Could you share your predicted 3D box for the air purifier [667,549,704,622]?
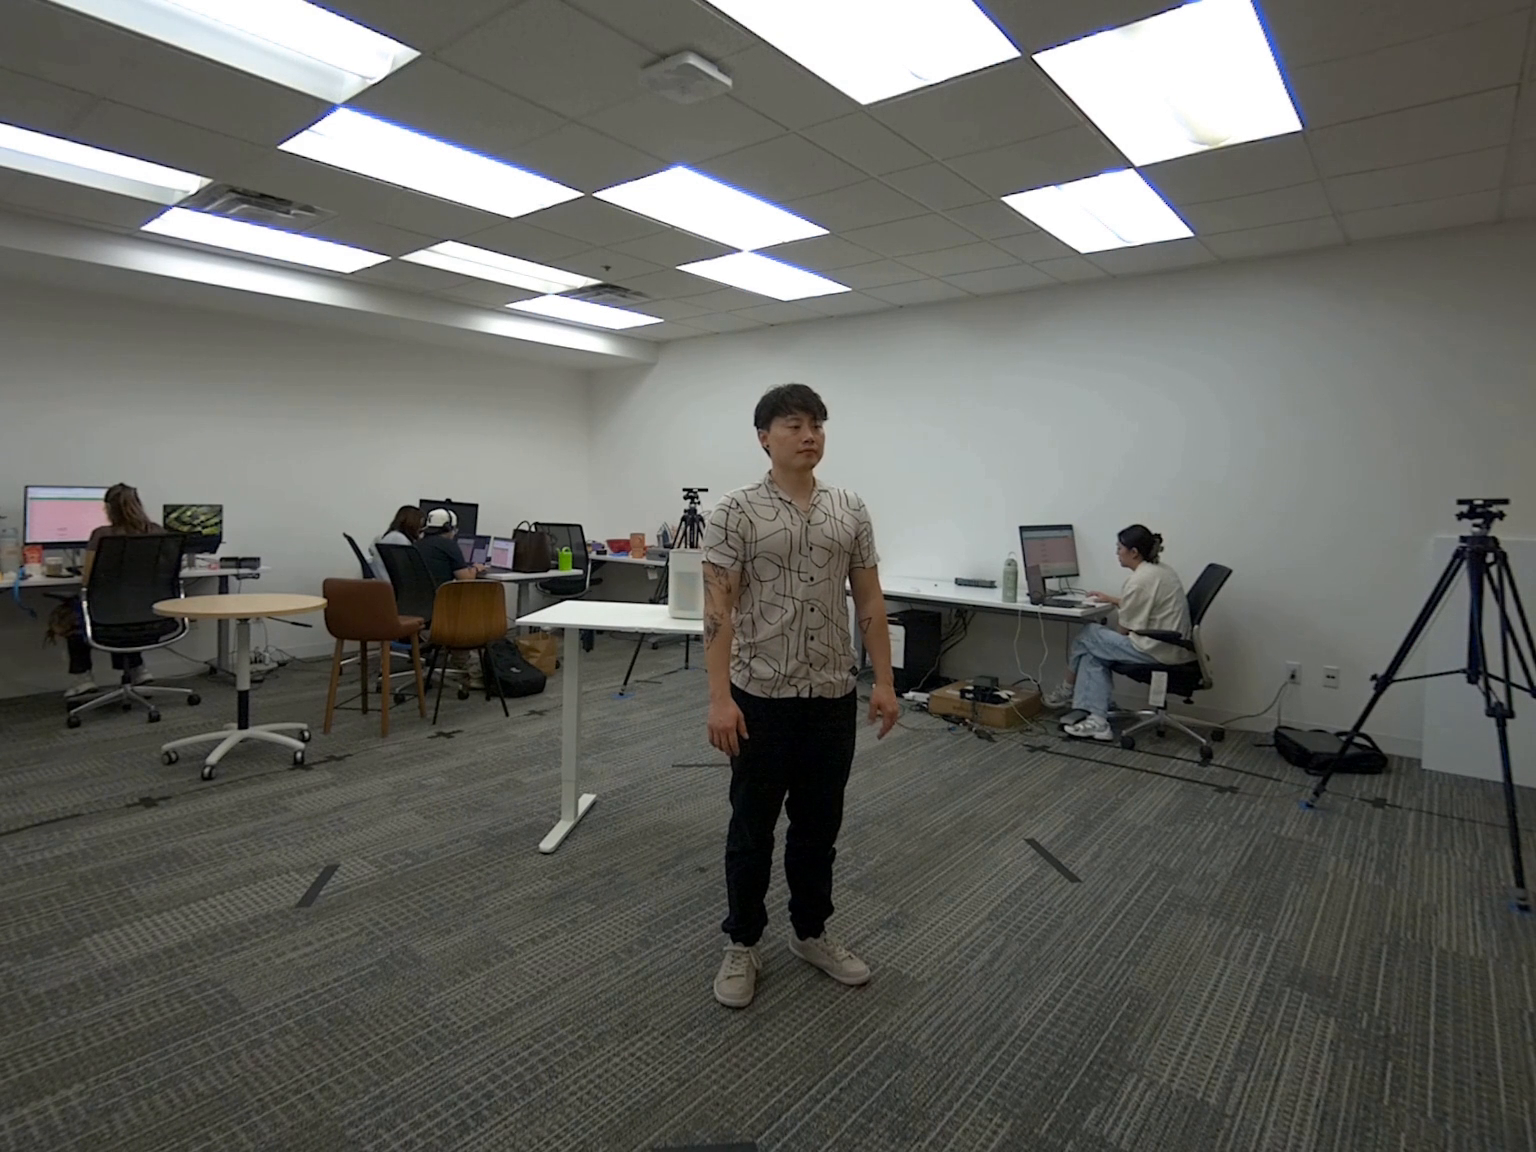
[{"bbox_3d":[-0.322,0.029,3.377,0.172,0.264,0.171,2,4,3],"label":"air purifier"}]
